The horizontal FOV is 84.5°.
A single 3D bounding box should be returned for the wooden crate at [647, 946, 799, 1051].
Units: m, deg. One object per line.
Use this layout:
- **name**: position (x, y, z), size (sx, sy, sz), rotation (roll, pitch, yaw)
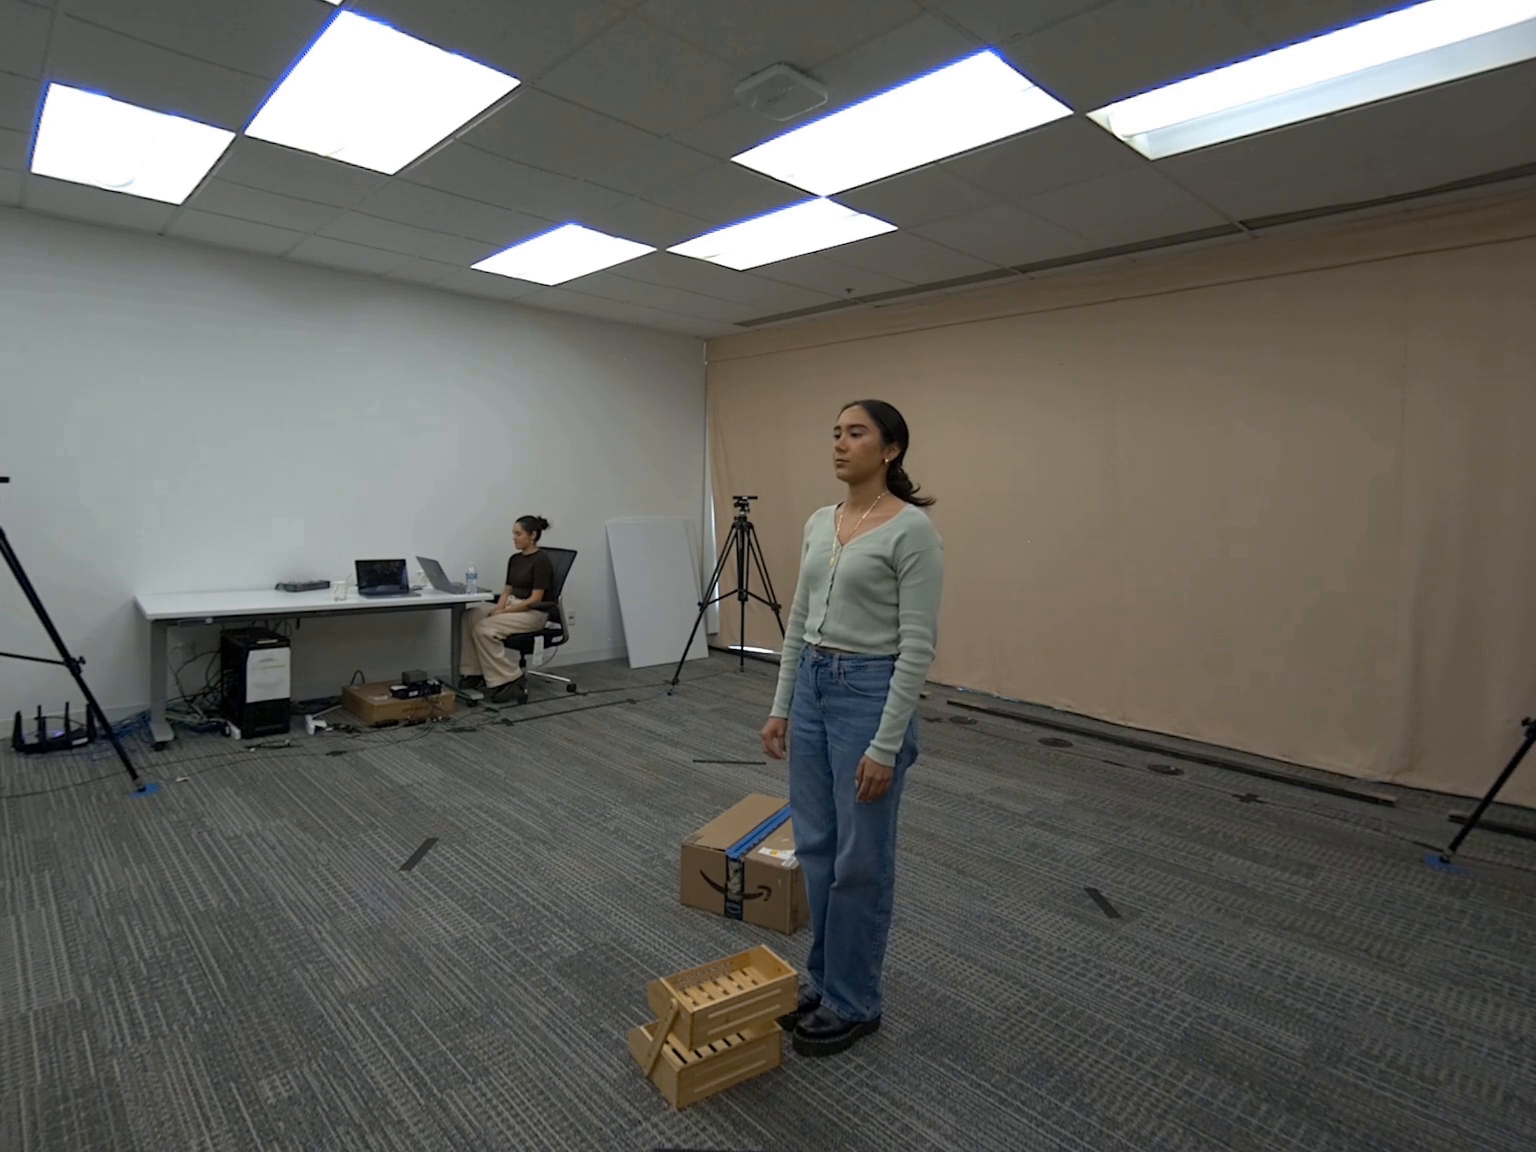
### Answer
- **wooden crate**: position (-0.140, 1.060, 2.066), size (0.317, 0.272, 0.310), rotation (-1, 6, -35)
